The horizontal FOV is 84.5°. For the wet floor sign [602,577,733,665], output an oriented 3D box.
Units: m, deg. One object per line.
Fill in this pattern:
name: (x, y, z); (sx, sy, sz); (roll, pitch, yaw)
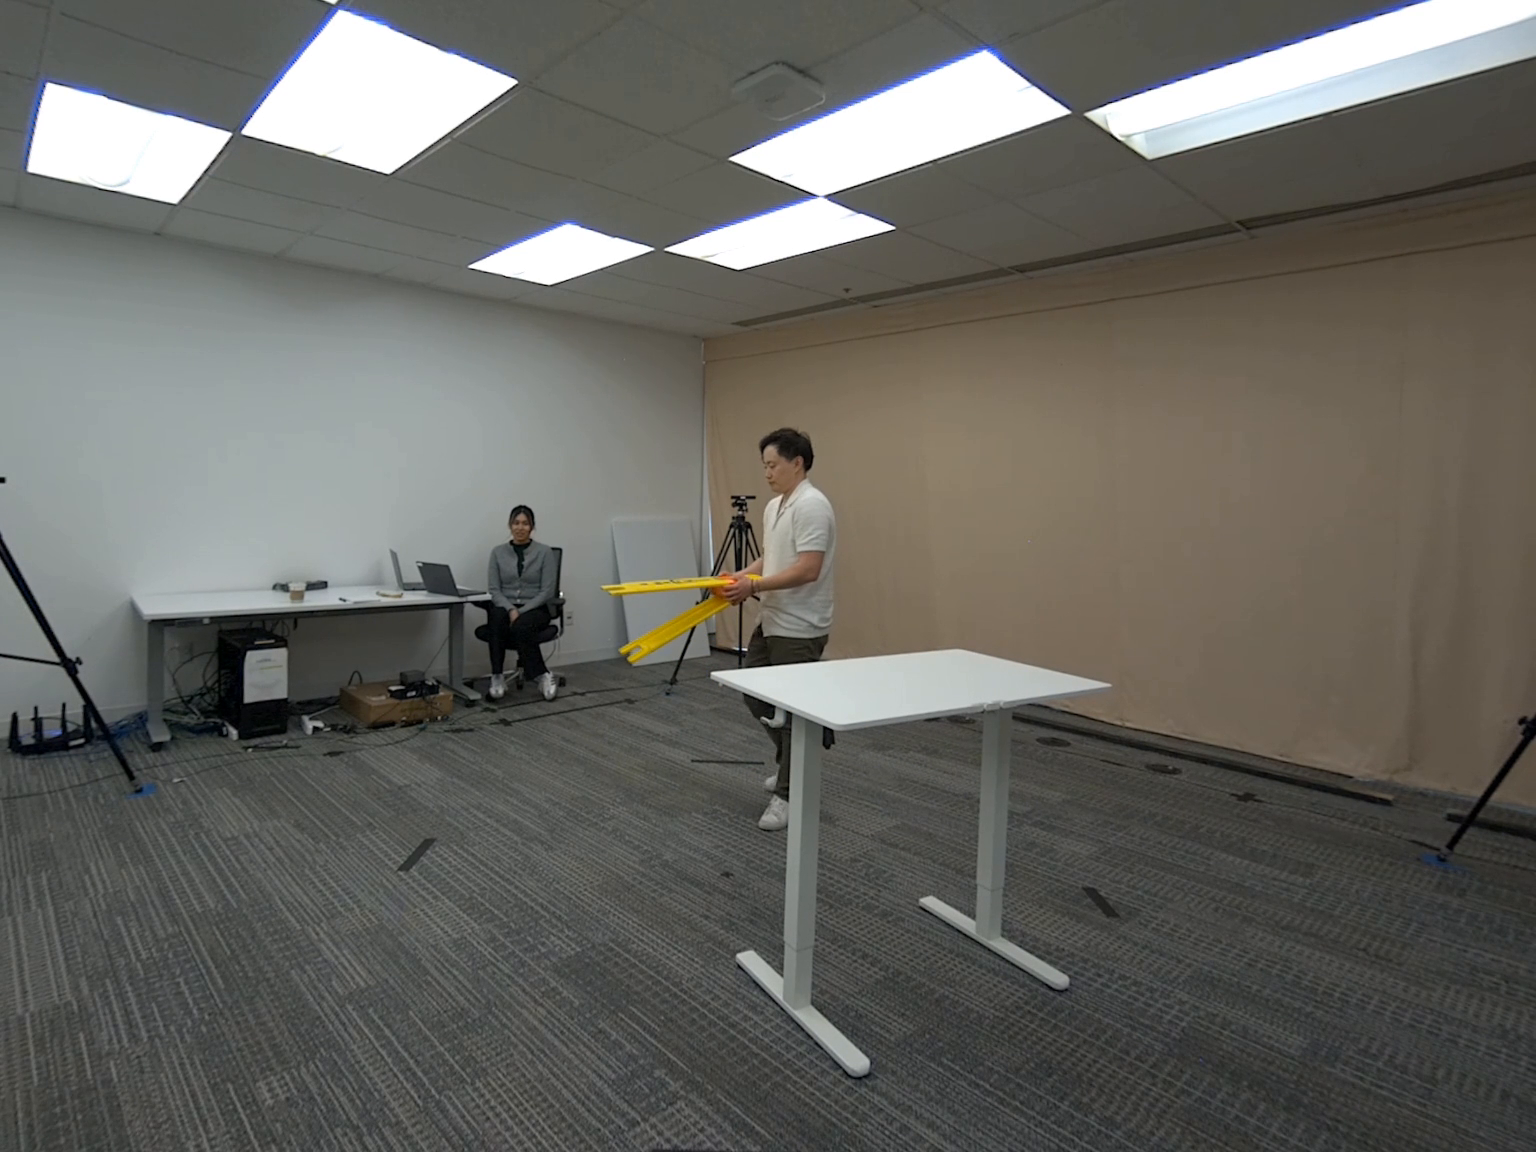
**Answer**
wet floor sign: (-0.340, 0.106, 3.506); (0.640, 0.287, 0.287); (-18, 10, -17)
